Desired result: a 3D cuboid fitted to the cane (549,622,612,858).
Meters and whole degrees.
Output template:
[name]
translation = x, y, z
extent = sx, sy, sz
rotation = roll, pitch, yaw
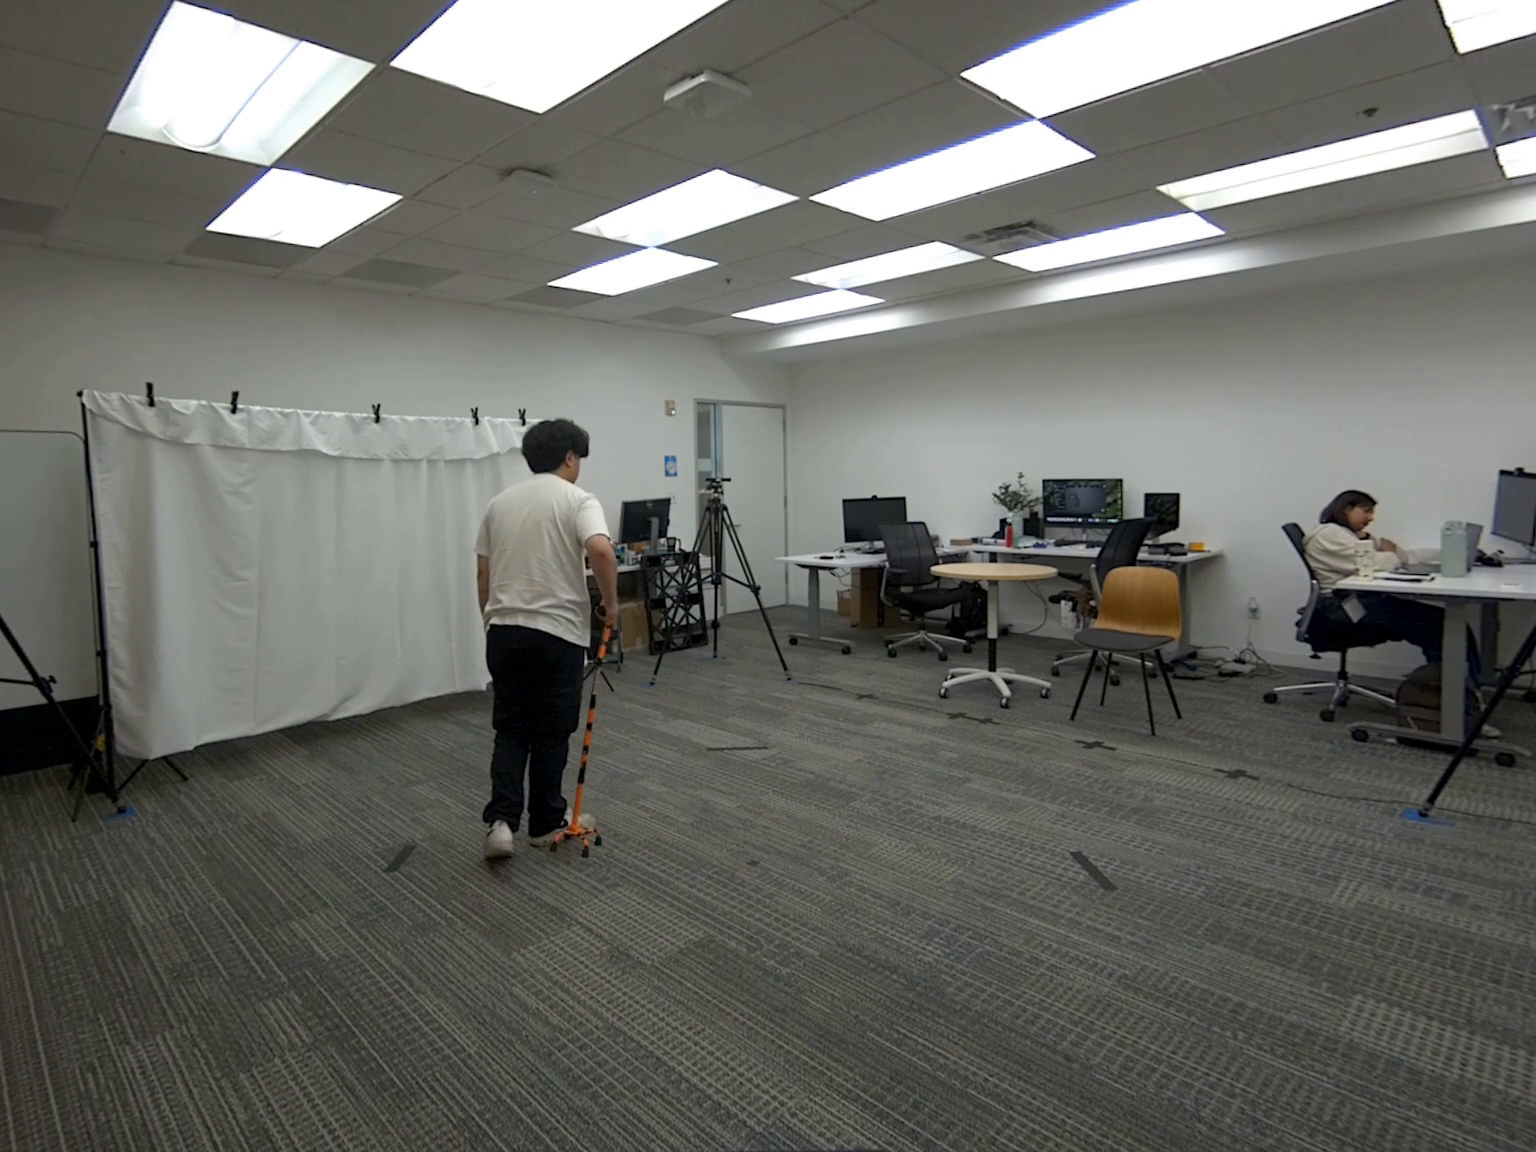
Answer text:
[cane]
translation = -0.649, 0.567, 3.232
extent = 0.151, 0.910, 0.206
rotation = 8, -2, -1
